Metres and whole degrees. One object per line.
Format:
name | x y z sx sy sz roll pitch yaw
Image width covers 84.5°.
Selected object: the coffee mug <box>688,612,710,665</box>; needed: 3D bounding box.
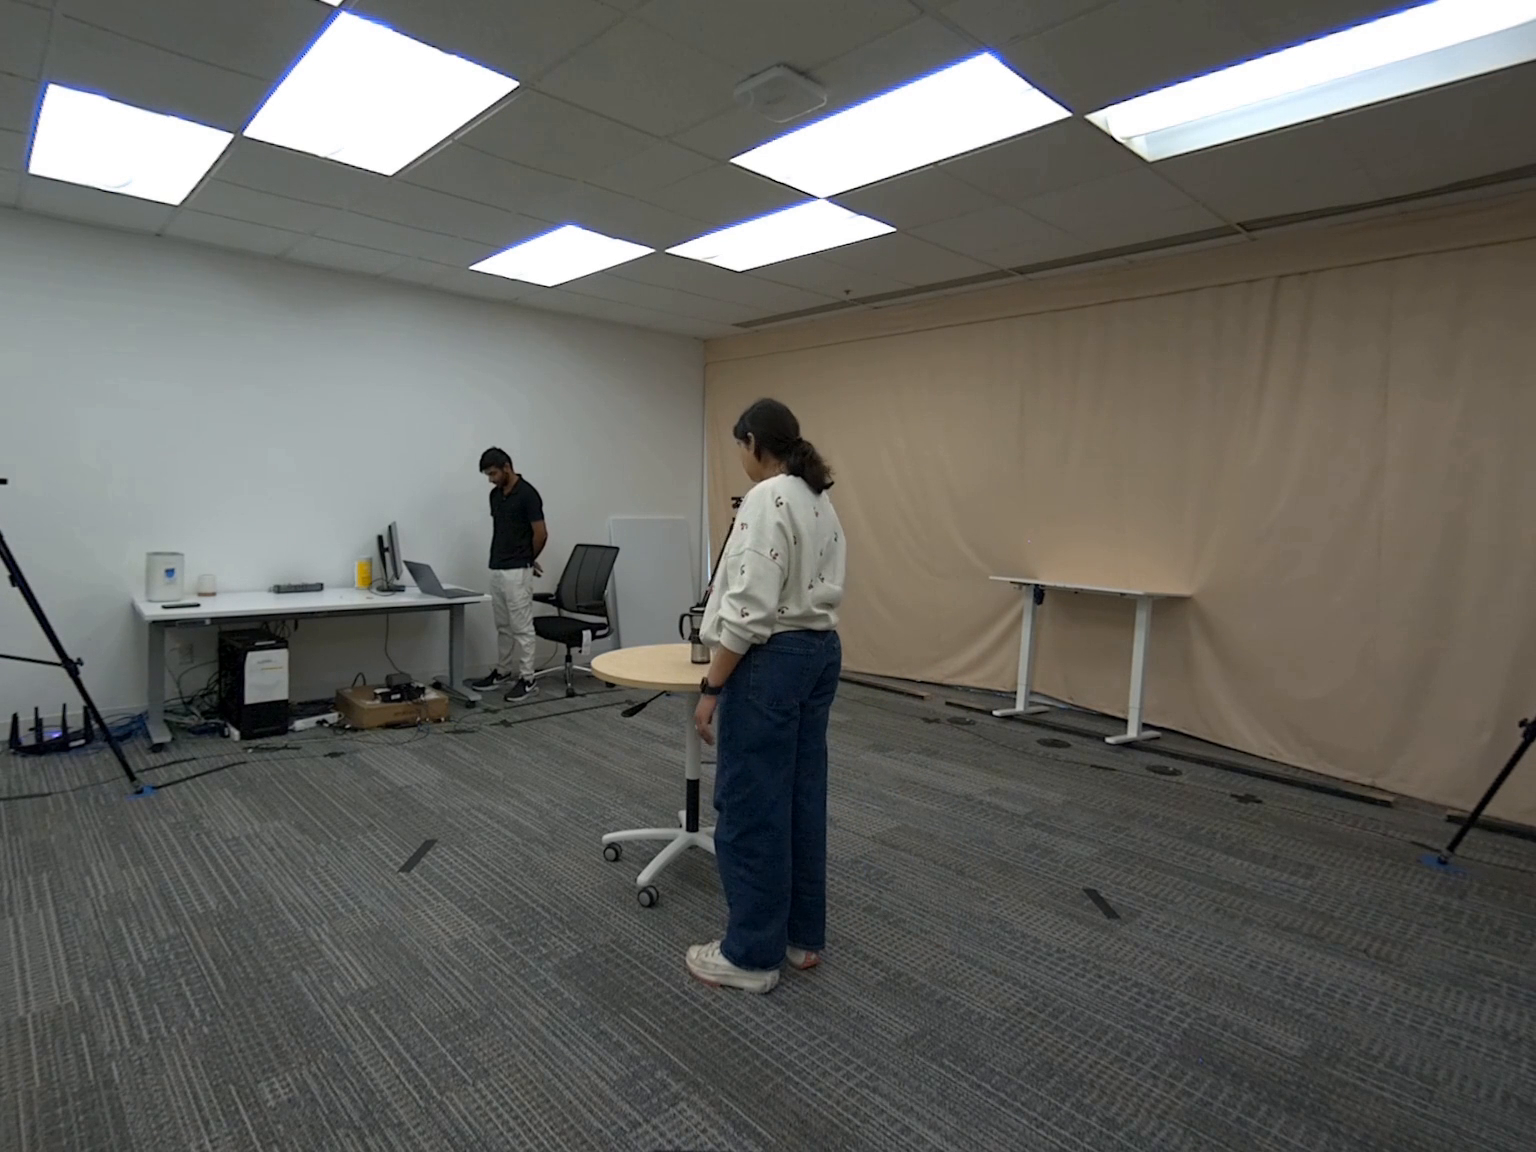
coffee mug | -0.268 0.223 3.117 0.086 0.202 0.125 -6 10 -44
